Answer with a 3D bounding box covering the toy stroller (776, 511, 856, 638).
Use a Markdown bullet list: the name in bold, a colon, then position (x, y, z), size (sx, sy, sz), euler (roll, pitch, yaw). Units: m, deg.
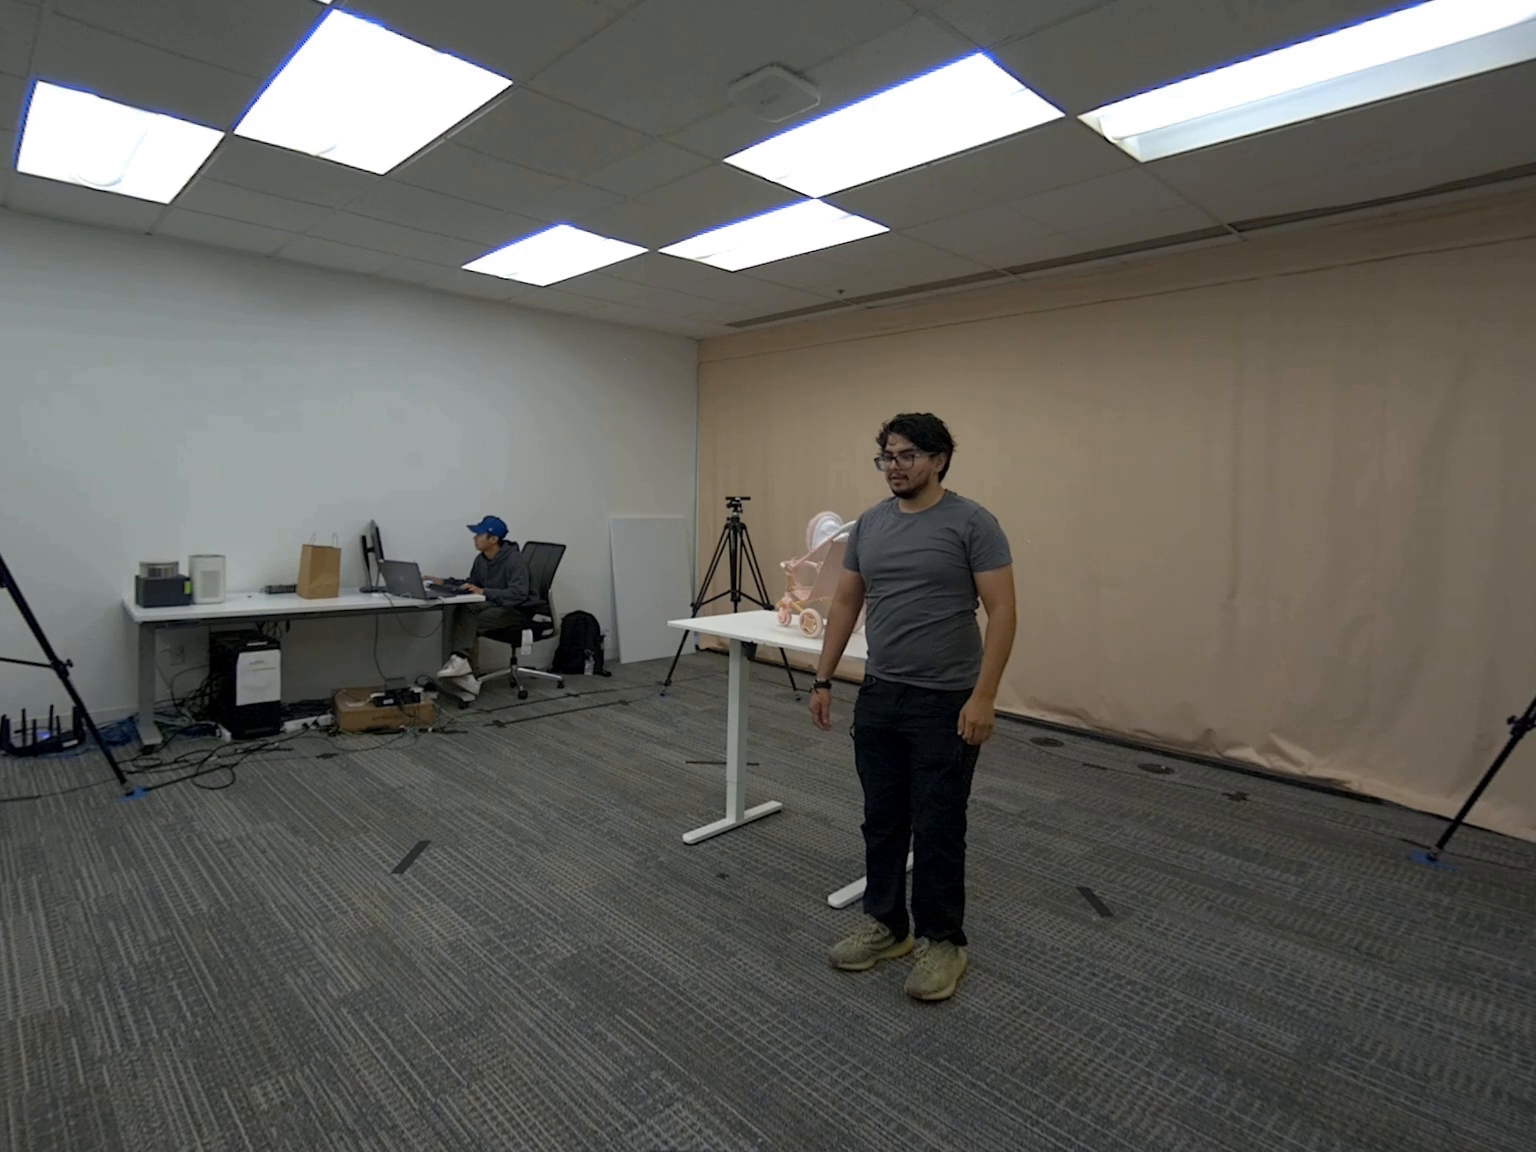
- **toy stroller**: position (0.202, -0.005, 3.232), size (0.275, 0.530, 0.352), euler (-1, 19, -40)
